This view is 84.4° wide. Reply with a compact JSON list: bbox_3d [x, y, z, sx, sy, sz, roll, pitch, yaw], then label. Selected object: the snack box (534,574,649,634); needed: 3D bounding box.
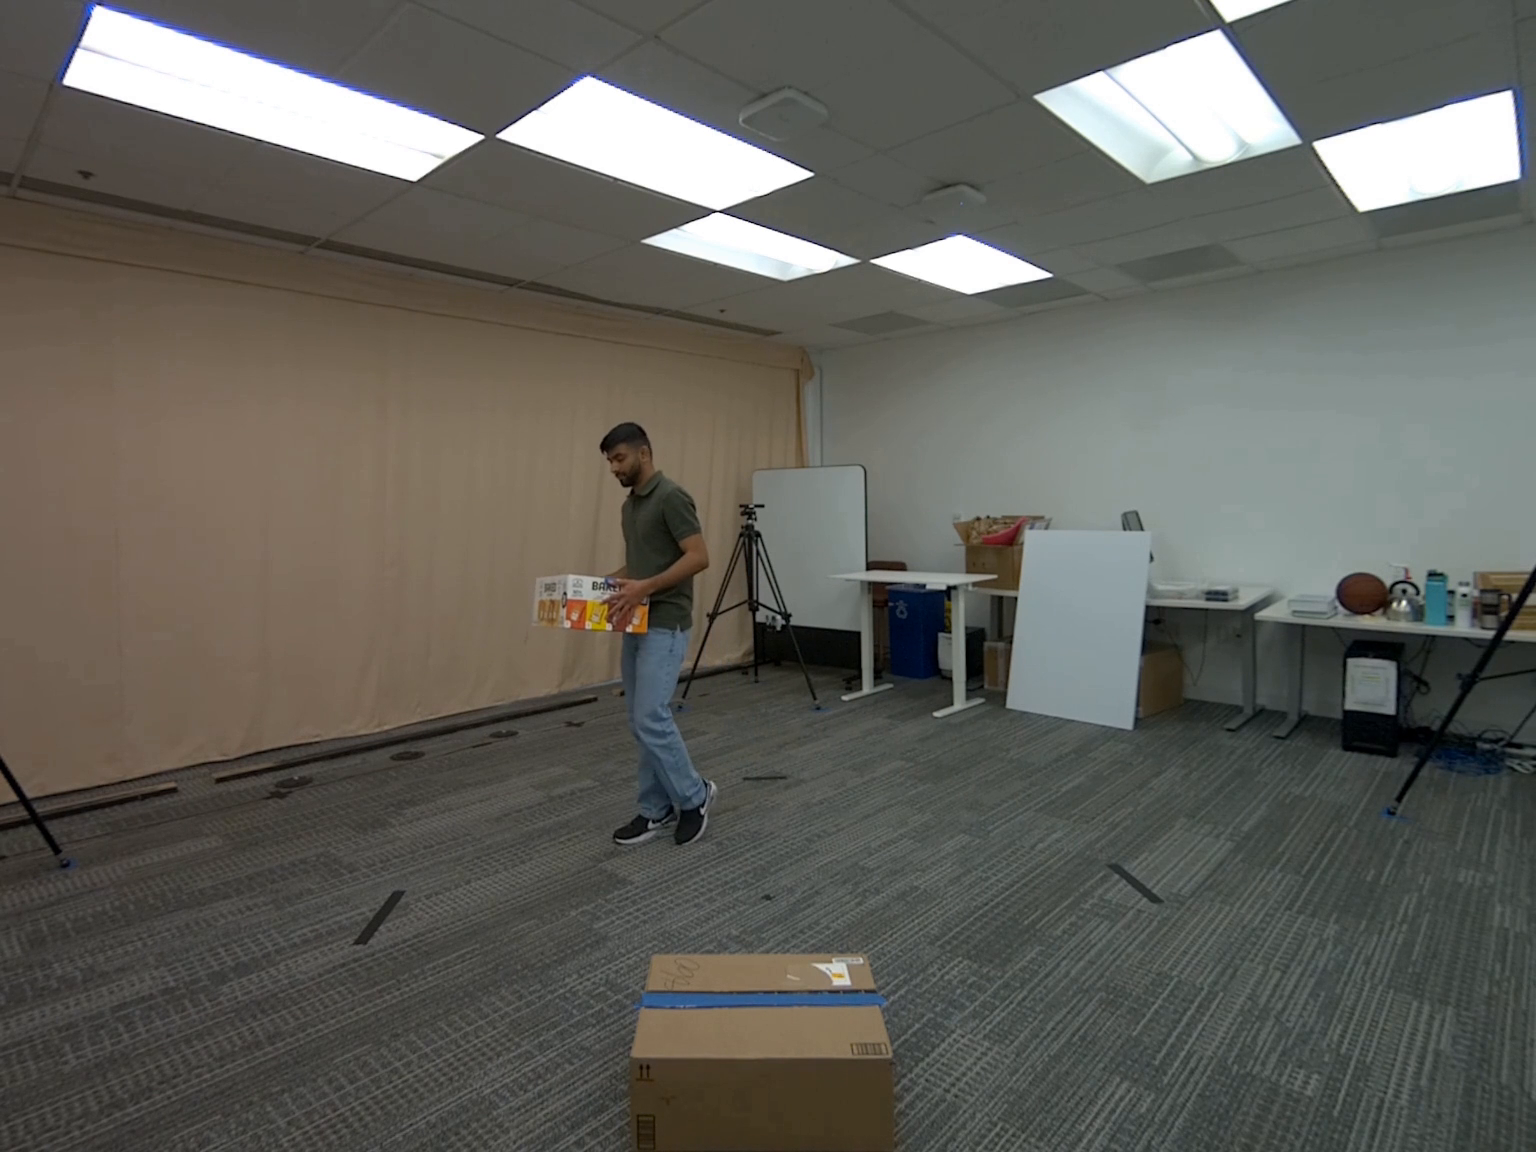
[{"bbox_3d":[-0.718,0.120,3.400,0.330,0.206,0.416,6,-6,-30],"label":"snack box"}]
